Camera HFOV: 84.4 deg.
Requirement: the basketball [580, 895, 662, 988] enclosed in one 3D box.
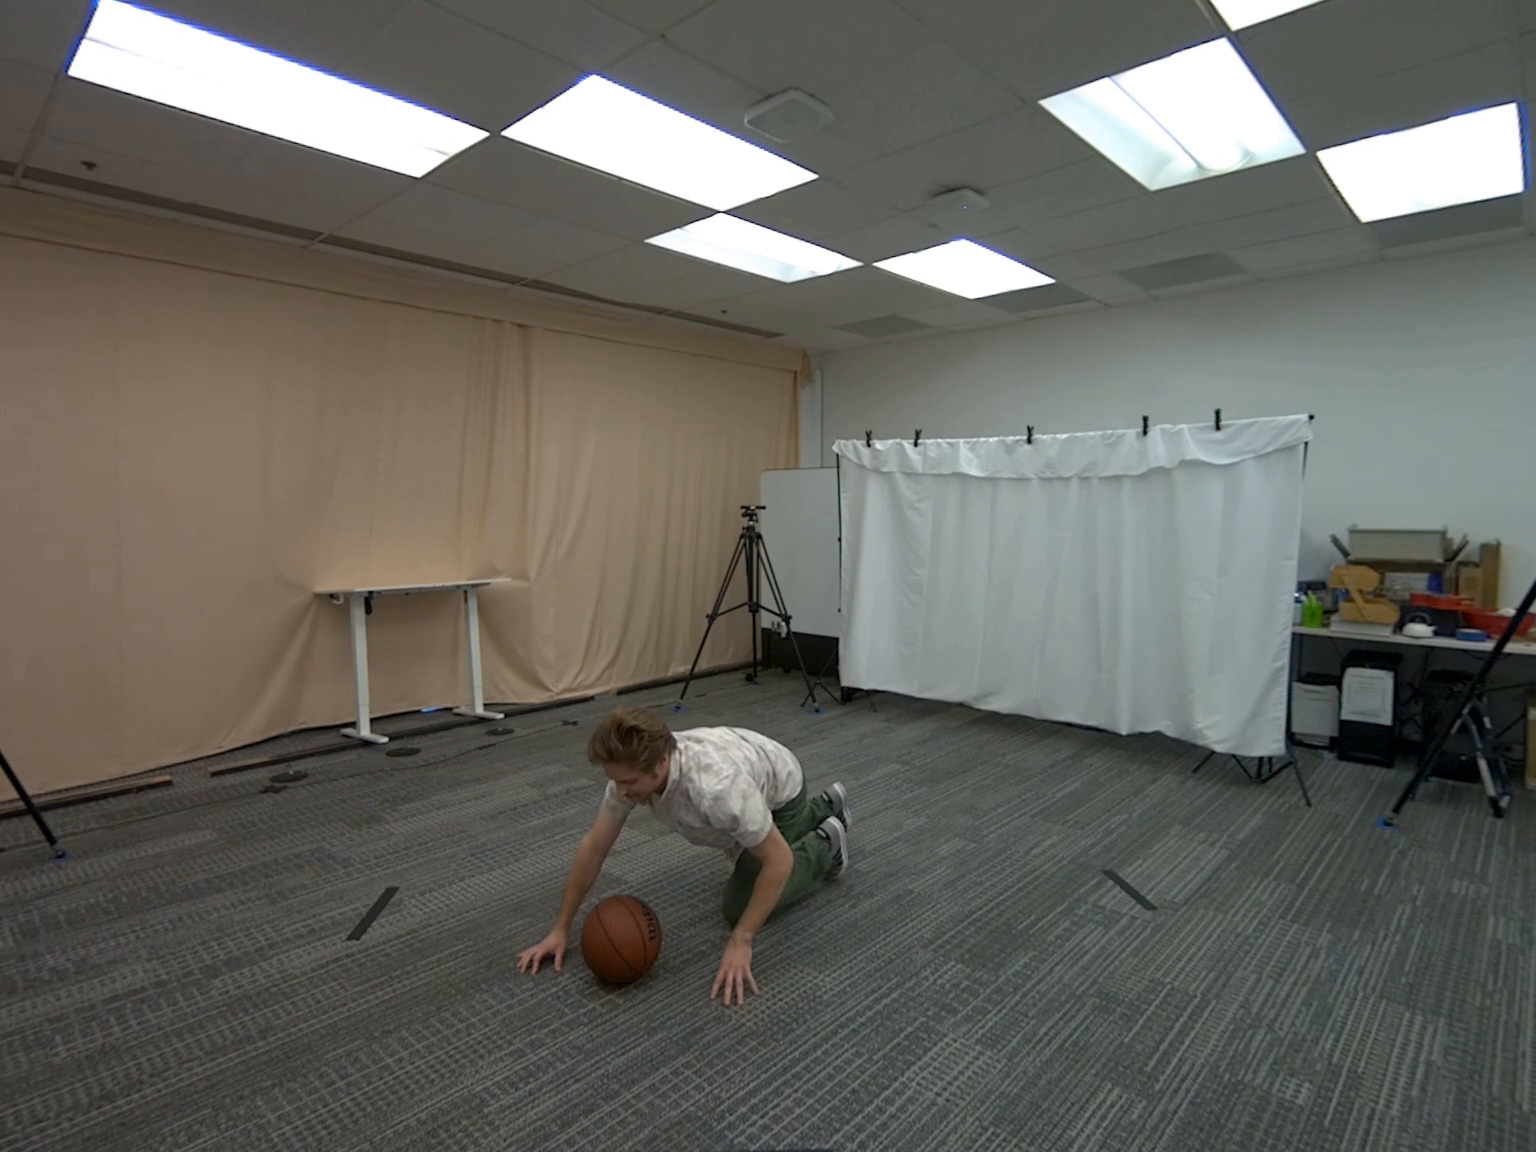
[{"bbox_3d":[-0.430,1.071,2.474,0.236,0.235,0.237,0,4,-2],"label":"basketball"}]
